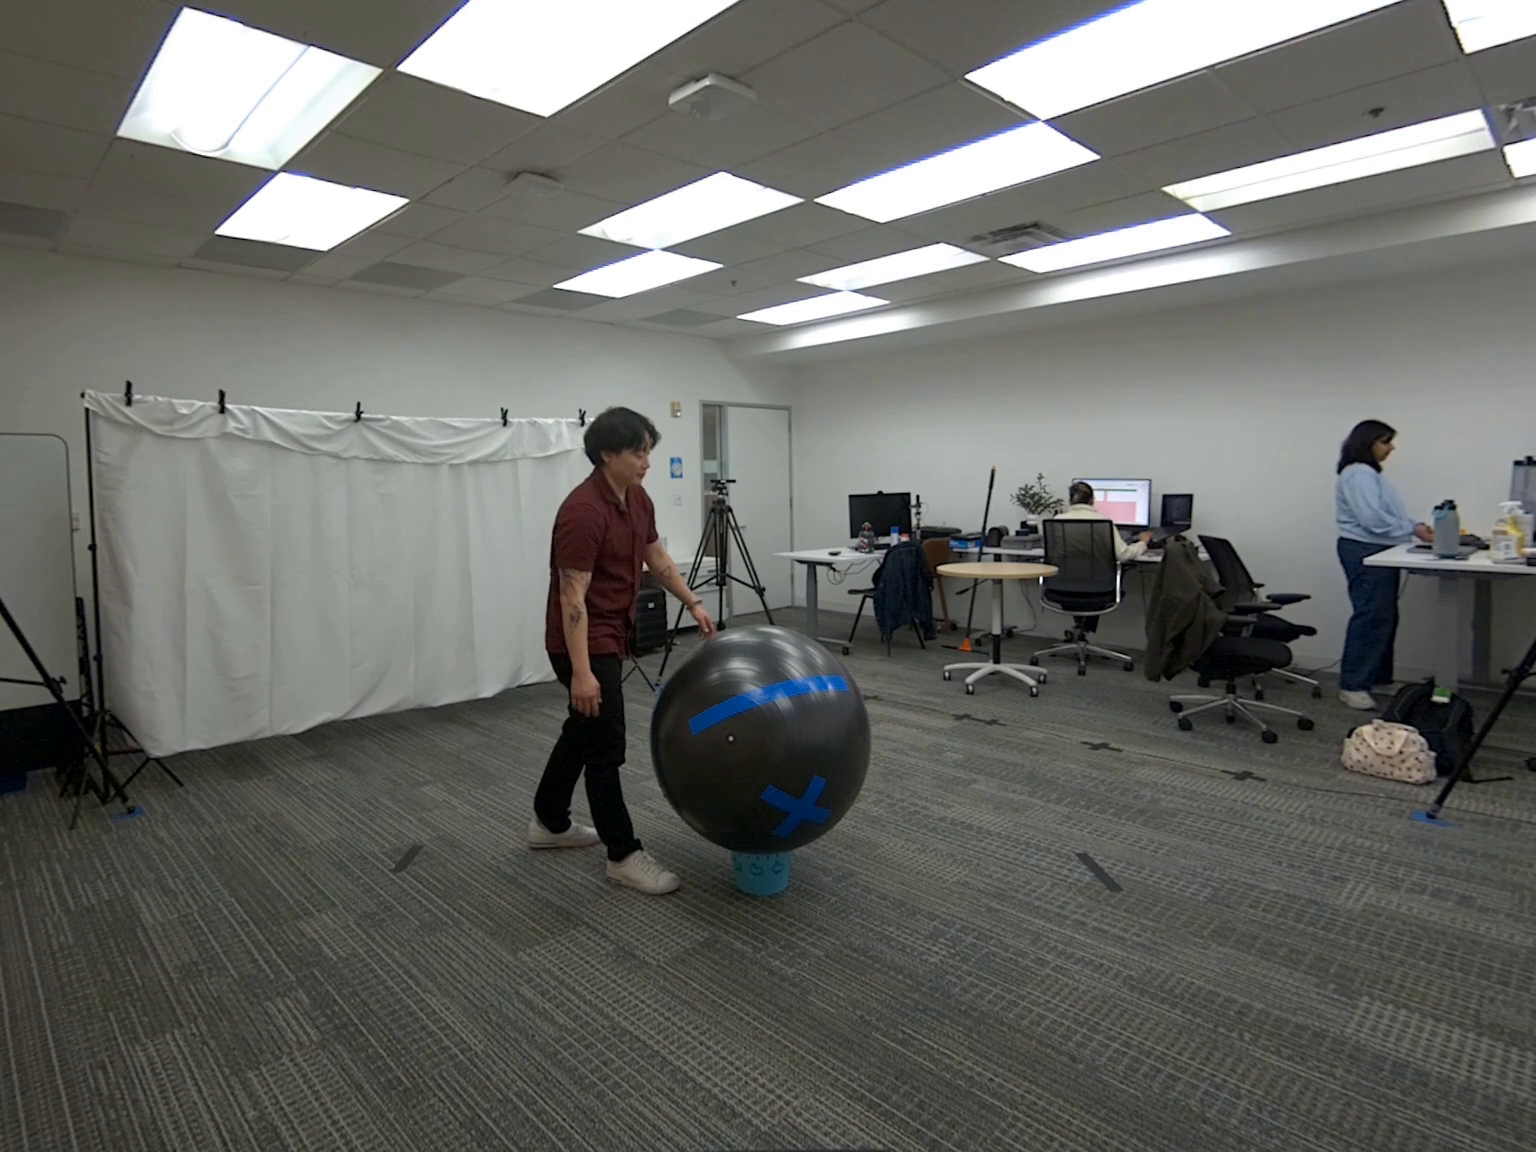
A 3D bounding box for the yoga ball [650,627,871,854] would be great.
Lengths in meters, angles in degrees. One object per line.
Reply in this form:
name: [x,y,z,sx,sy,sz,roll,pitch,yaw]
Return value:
yoga ball: [-0.027,0.550,2.940,0.757,0.755,0.762,-1,5,-2]
